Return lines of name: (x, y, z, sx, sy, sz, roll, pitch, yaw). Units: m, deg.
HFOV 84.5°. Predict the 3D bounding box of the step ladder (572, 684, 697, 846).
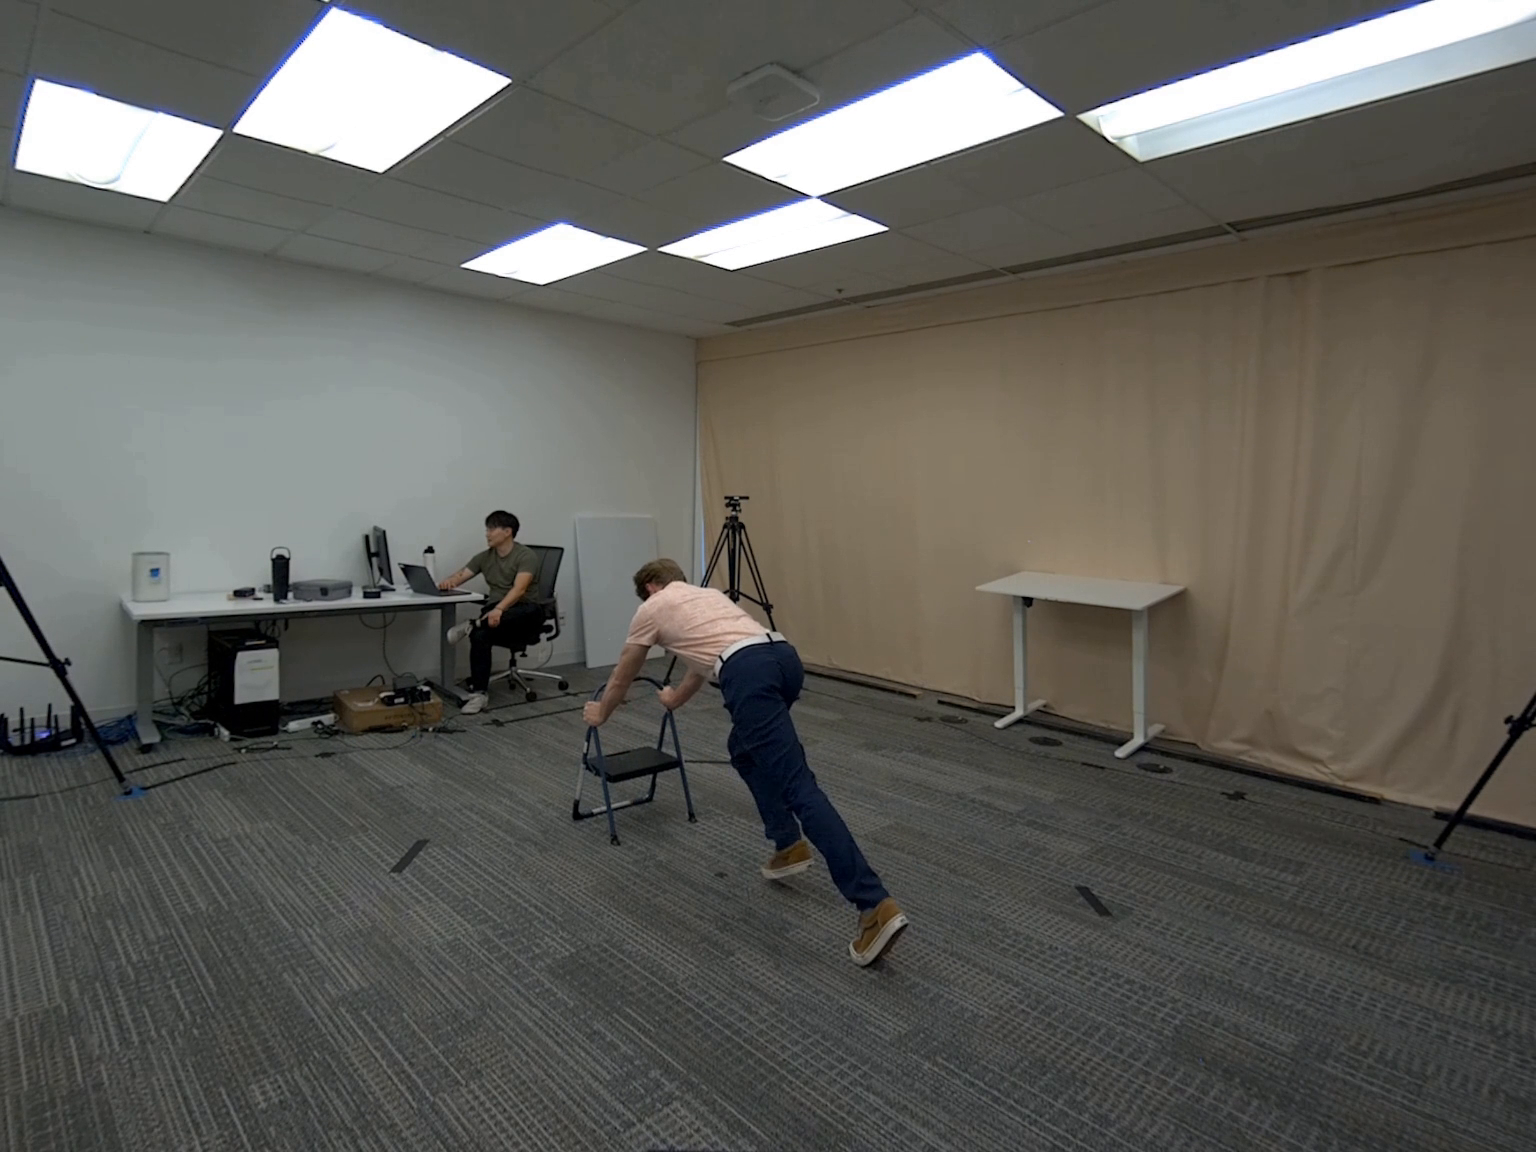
step ladder: (-0.574, 0.750, 3.595, 0.421, 0.605, 0.358, -2, 4, -43)
